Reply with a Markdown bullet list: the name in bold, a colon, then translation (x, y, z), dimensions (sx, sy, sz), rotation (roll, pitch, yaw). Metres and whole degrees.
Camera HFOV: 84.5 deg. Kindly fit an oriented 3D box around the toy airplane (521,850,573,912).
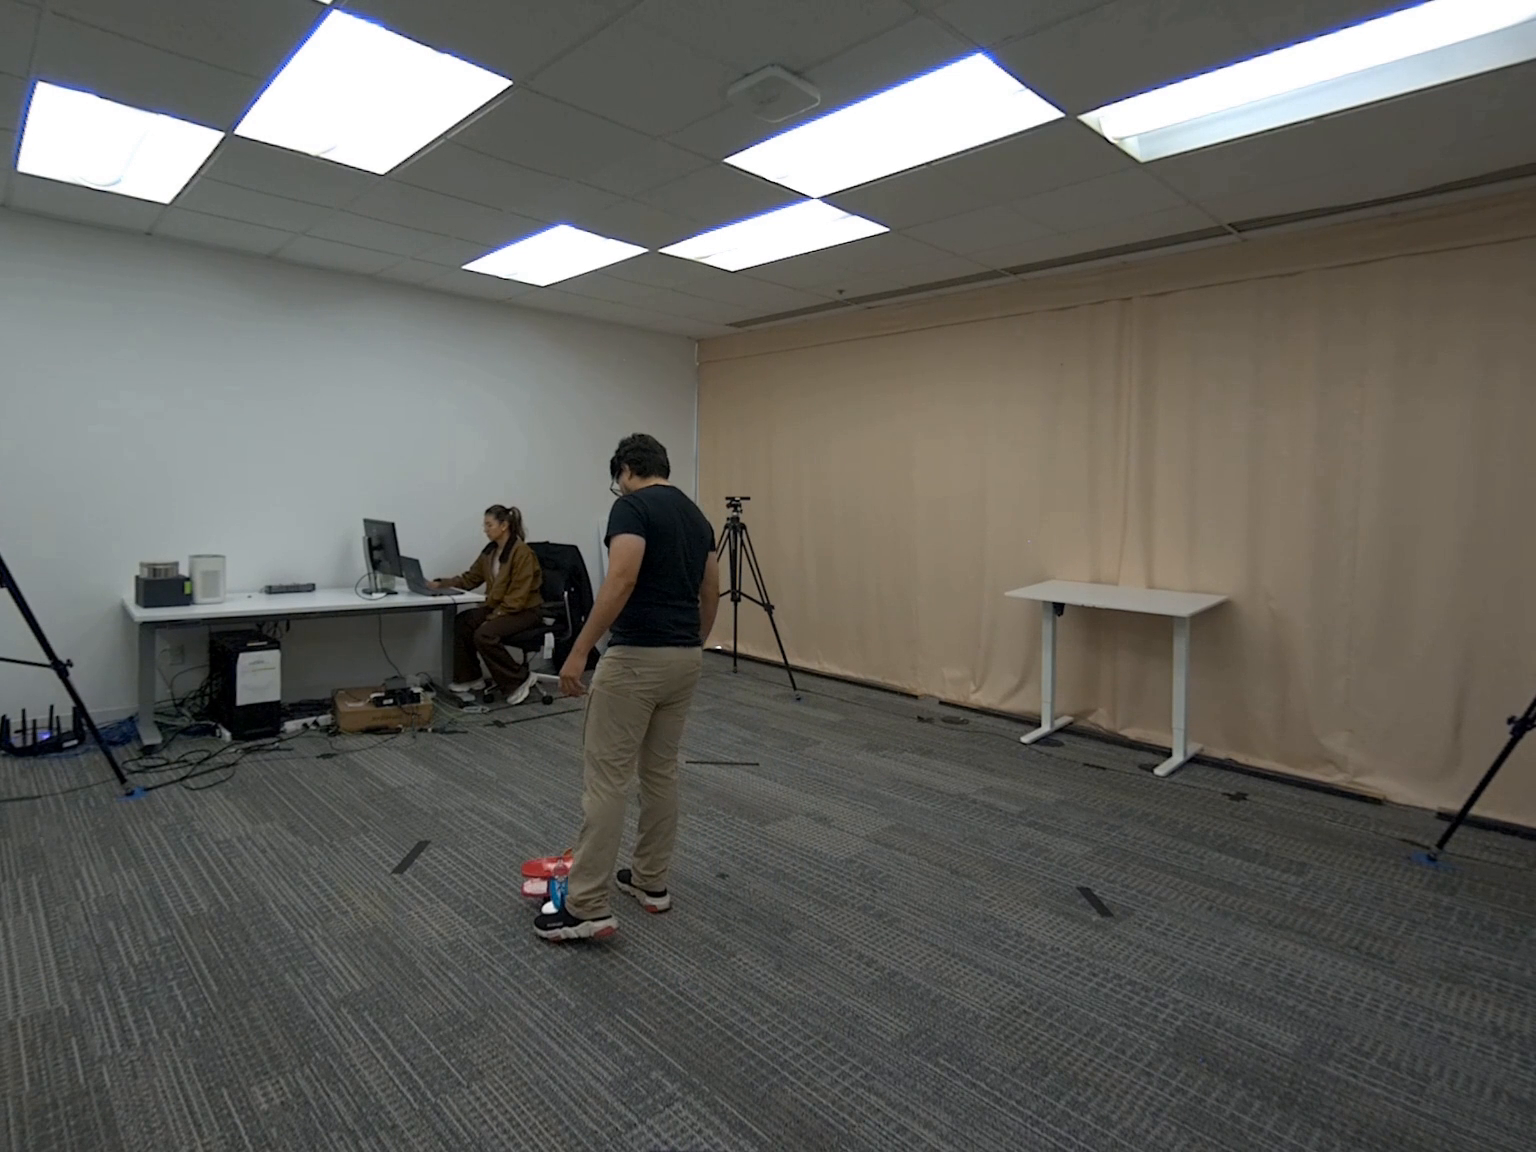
- **toy airplane**: translation (-0.688, 1.048, 2.822), dimensions (0.245, 0.156, 0.266), rotation (-4, 6, -42)
